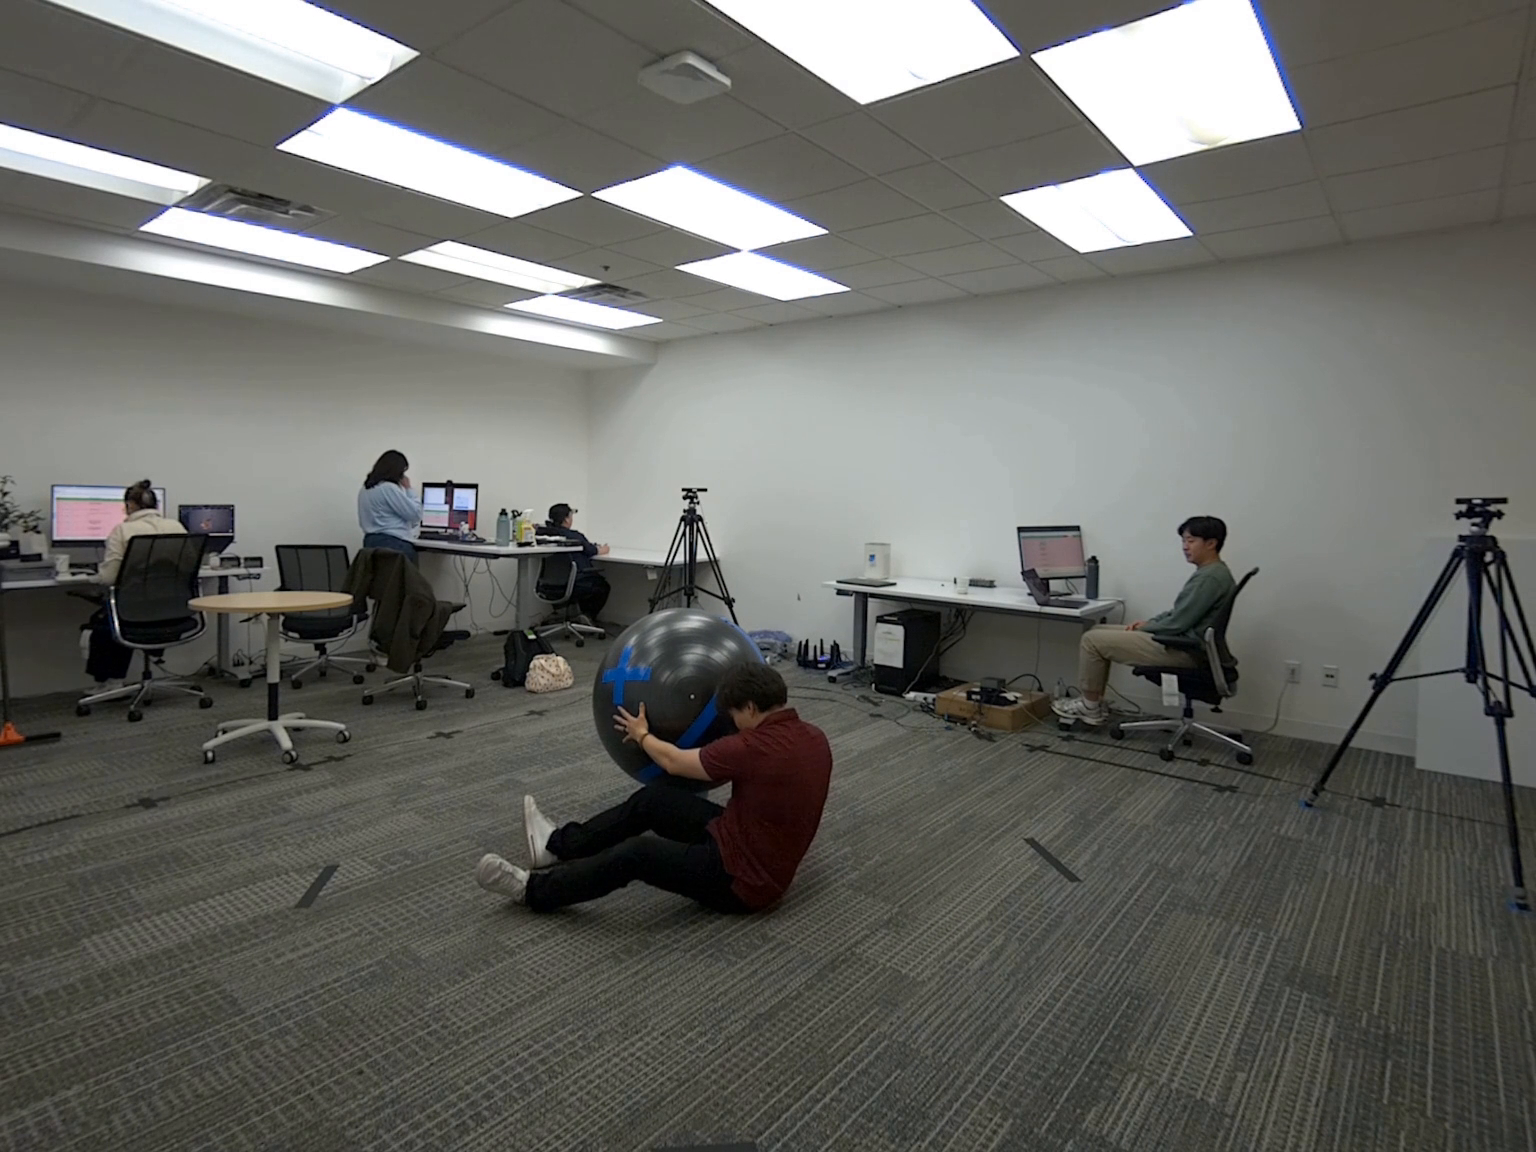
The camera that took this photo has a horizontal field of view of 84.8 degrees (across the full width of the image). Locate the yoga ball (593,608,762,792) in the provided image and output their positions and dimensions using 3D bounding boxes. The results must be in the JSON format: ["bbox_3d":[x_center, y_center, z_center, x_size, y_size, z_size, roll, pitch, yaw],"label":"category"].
[{"bbox_3d":[-0.365,0.515,3.555,0.757,0.755,0.762,1,4,-2],"label":"yoga ball"}]
